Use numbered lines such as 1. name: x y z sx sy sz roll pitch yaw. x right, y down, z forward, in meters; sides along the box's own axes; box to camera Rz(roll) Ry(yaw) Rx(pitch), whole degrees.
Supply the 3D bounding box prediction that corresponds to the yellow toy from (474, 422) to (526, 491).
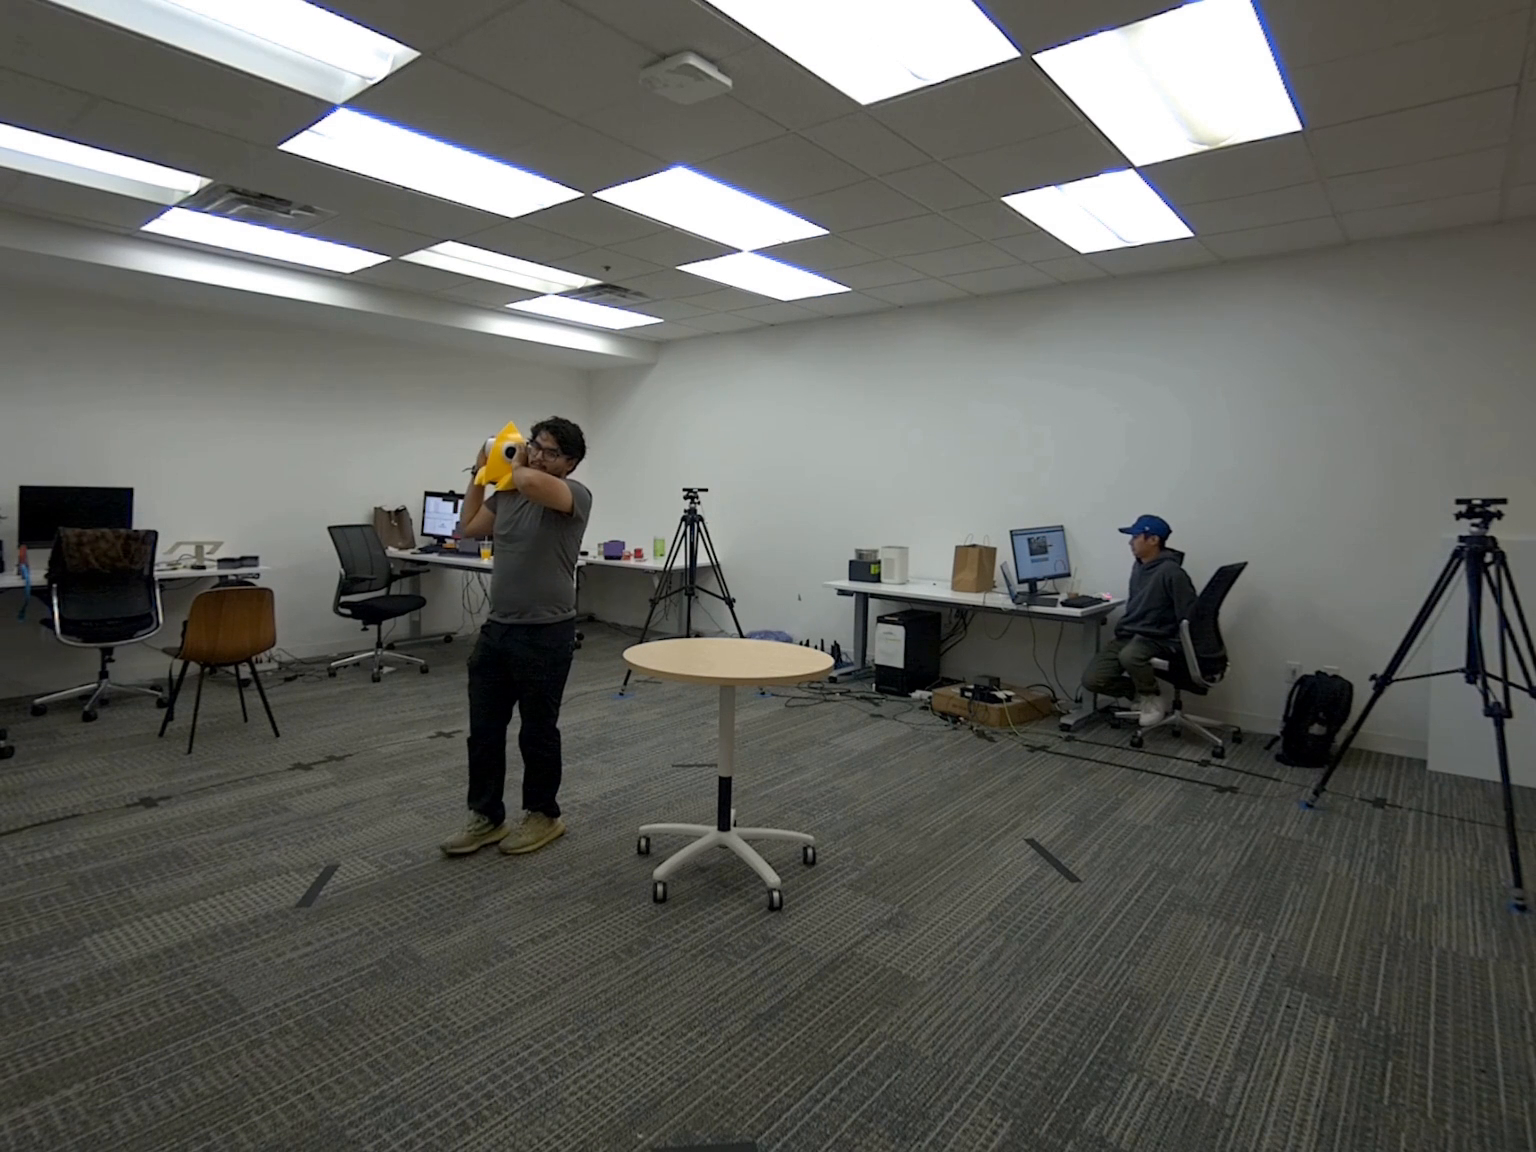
1. yellow toy: -1.041 -0.476 3.284 0.211 0.226 0.190 14 25 29
